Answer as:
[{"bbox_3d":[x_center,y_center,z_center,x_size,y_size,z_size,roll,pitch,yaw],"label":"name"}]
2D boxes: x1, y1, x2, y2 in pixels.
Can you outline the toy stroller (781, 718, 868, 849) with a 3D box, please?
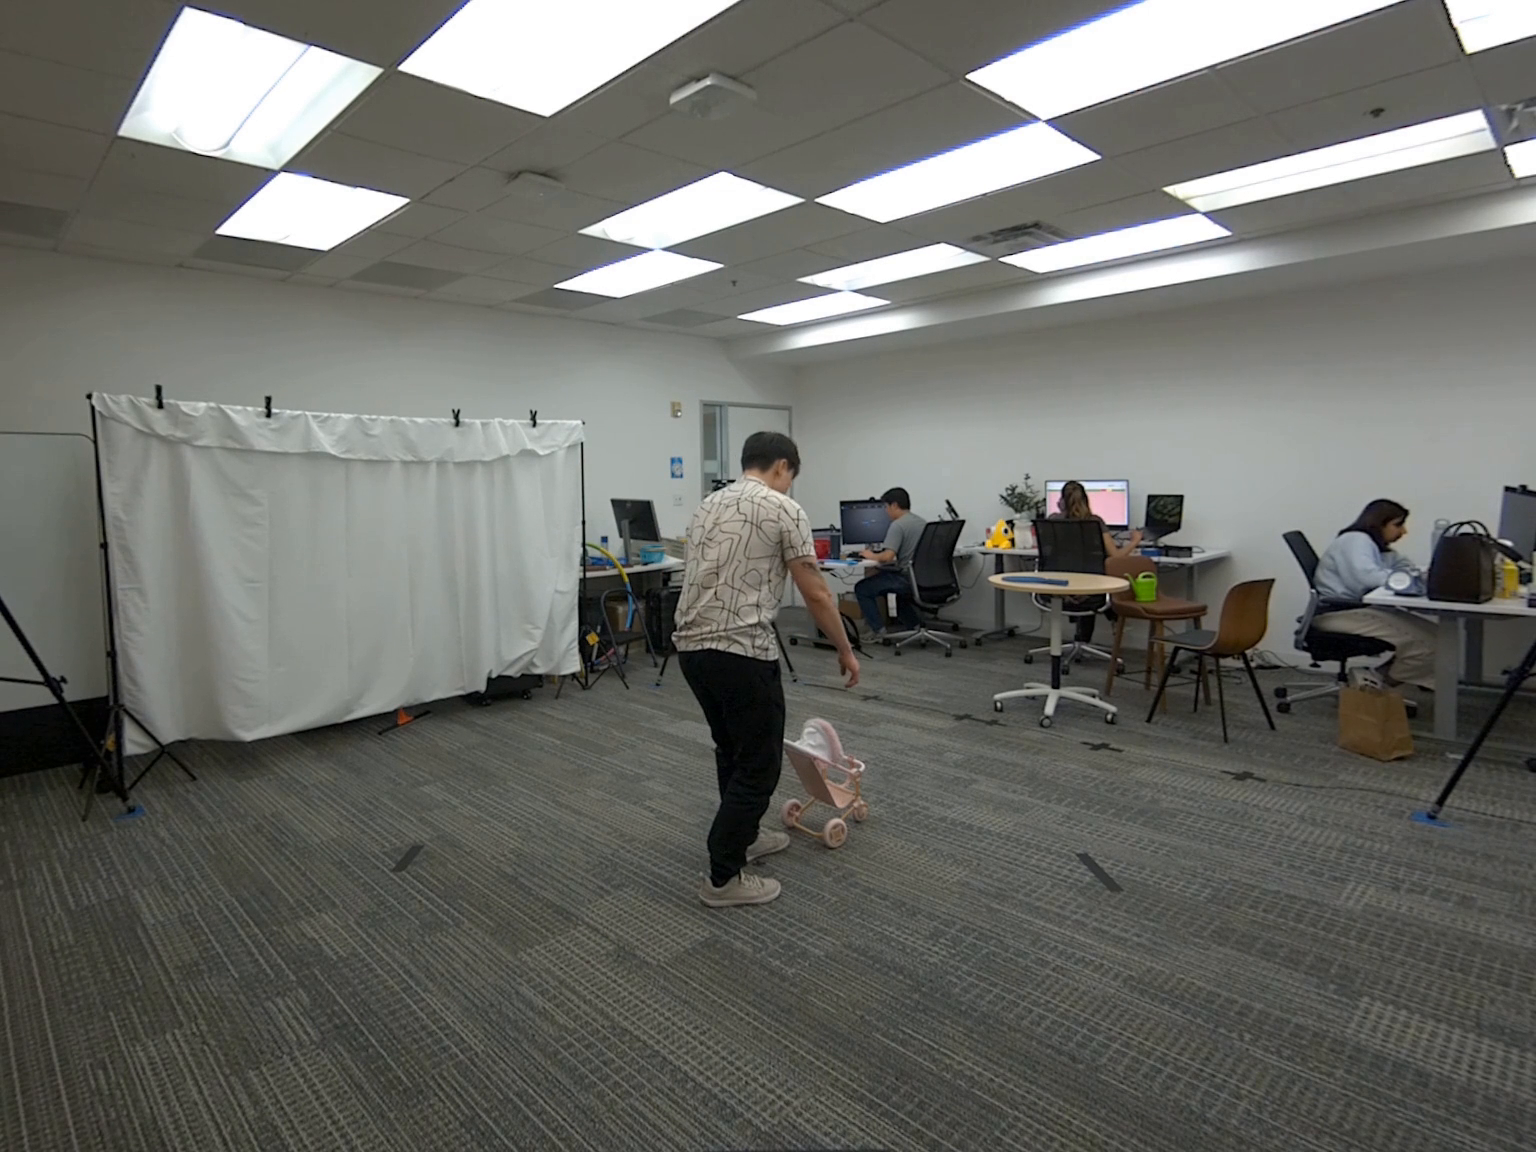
[{"bbox_3d":[0.223,0.791,3.362,0.336,0.527,0.289,-23,15,-30],"label":"toy stroller"}]
